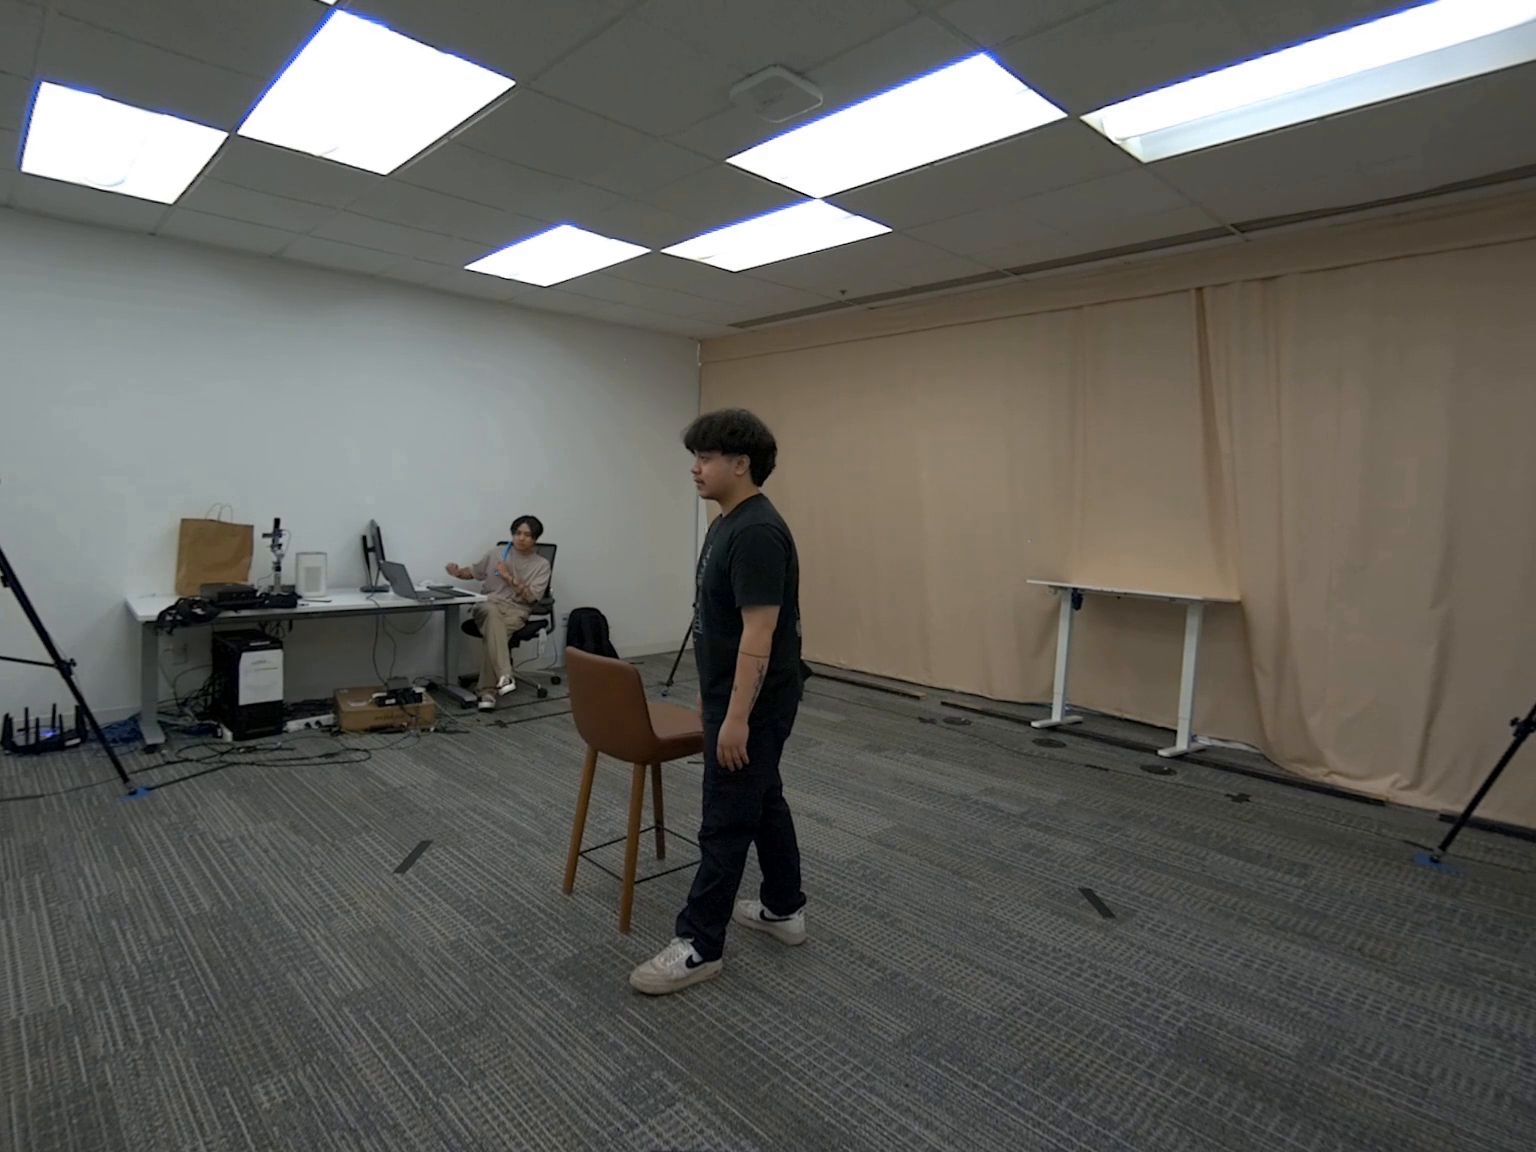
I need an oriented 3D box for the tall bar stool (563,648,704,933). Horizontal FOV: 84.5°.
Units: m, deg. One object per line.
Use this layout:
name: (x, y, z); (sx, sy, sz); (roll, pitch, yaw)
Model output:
tall bar stool: (-0.434, 0.679, 2.934); (0.457, 0.886, 0.468); (-5, 7, -43)
